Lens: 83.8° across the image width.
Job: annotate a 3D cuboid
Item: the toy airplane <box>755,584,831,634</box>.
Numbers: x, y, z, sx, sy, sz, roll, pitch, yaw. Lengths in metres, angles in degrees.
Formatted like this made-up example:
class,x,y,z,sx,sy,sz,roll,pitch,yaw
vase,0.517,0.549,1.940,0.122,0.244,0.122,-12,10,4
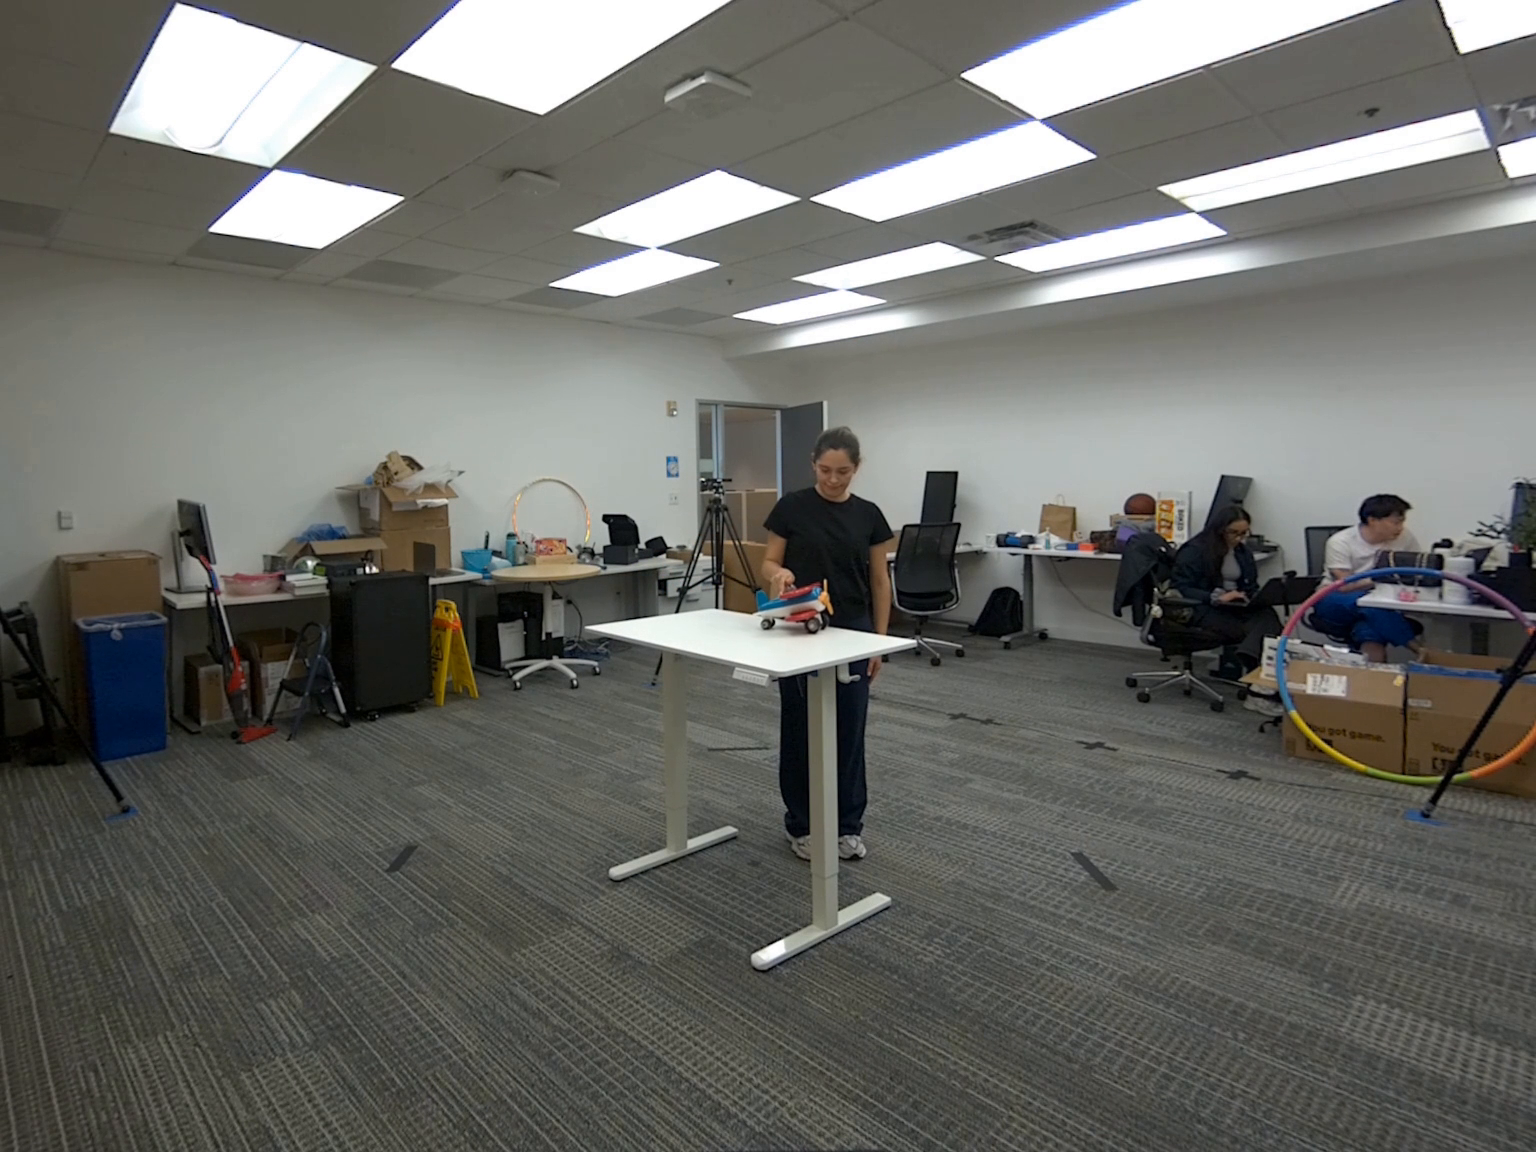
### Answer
class,x,y,z,sx,sy,sz,roll,pitch,yaw
toy airplane,0.076,0.111,2.888,0.258,0.156,0.253,0,5,-5
